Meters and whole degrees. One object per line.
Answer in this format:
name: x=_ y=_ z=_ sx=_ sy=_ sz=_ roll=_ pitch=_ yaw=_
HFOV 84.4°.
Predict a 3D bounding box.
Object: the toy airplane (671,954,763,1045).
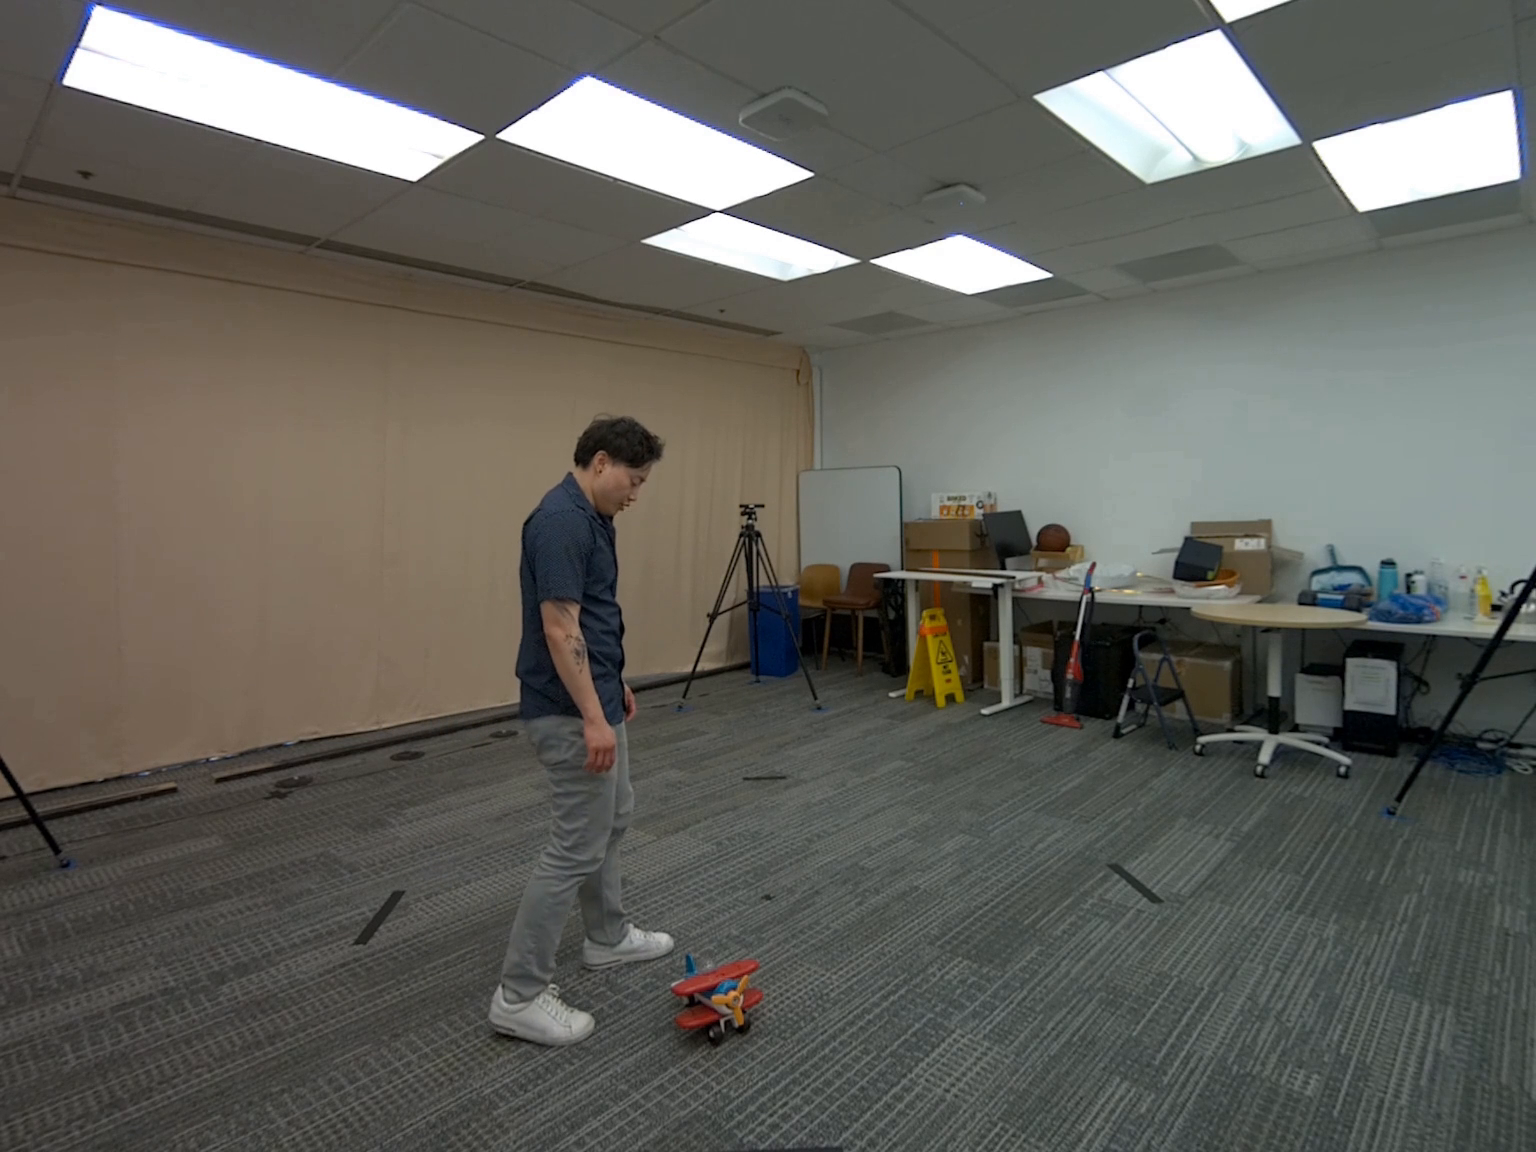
toy airplane: x=-0.165 y=1.131 z=2.258 sx=0.267 sy=0.156 sz=0.245 roll=2 pitch=6 yaw=29
